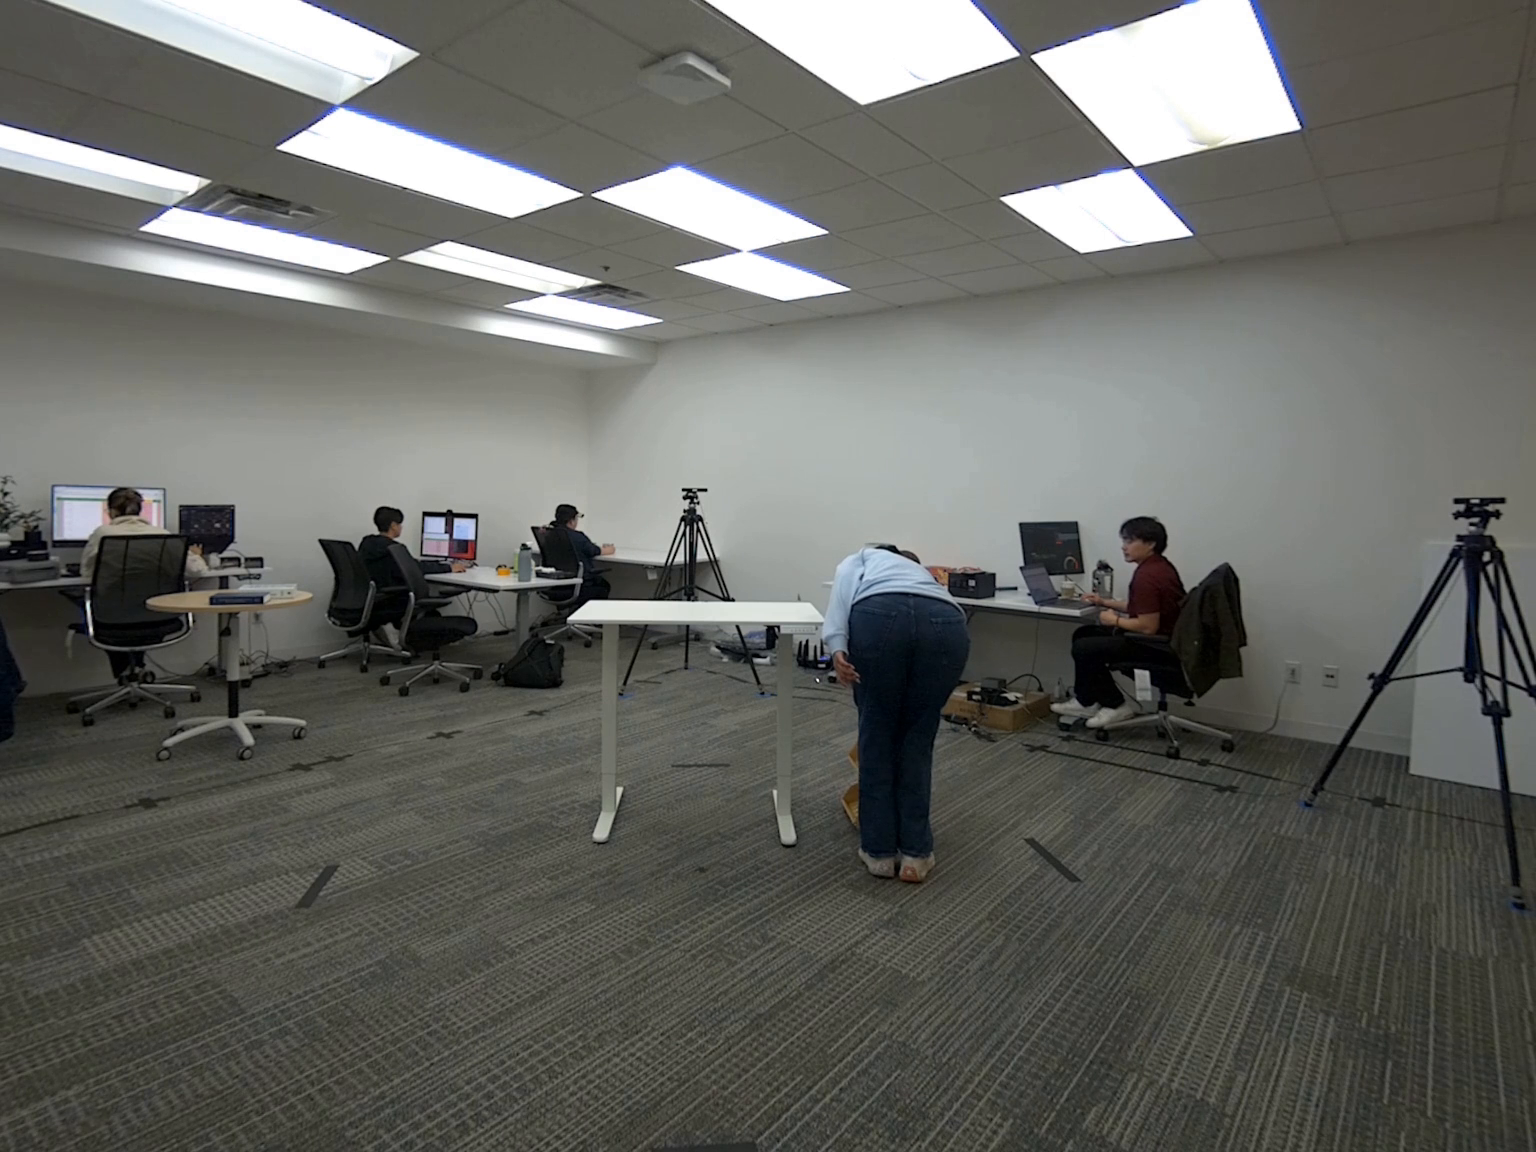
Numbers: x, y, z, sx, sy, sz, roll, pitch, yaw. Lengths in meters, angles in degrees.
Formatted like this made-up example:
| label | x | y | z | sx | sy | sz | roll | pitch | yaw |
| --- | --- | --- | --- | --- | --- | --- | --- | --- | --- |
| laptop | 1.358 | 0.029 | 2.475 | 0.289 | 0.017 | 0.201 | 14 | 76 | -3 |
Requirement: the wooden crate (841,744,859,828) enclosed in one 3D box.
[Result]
| label | x | y | z | sx | sy | sz | roll | pitch | yaw |
| --- | --- | --- | --- | --- | --- | --- | --- | --- | --- |
| wooden crate | 0.417 | 0.855 | 3.607 | 0.302 | 0.273 | 0.326 | -20 | 3 | -1 |
